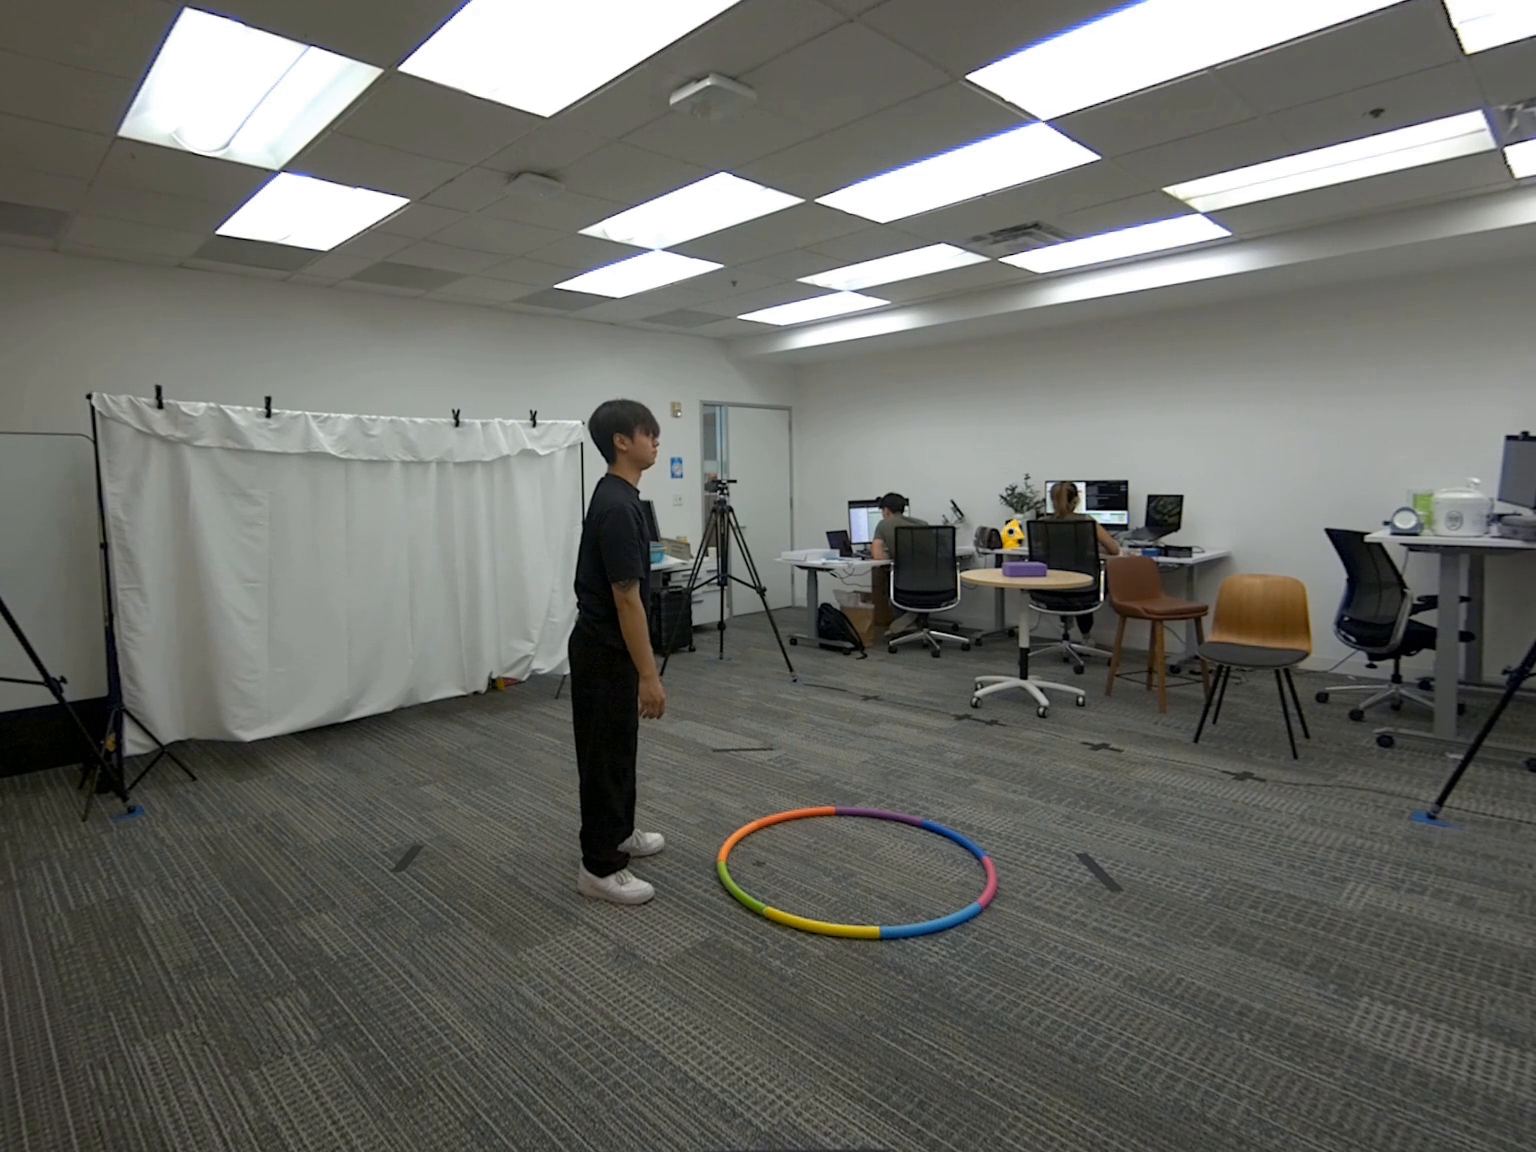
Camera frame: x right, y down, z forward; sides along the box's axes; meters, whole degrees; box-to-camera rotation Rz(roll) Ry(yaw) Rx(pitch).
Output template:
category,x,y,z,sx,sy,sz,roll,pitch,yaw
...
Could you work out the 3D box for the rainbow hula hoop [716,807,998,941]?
category,x,y,z,sx,sy,sz,roll,pitch,yaw
rainbow hula hoop,0.301,1.016,3.069,0.978,0.035,0.984,-2,6,-2
